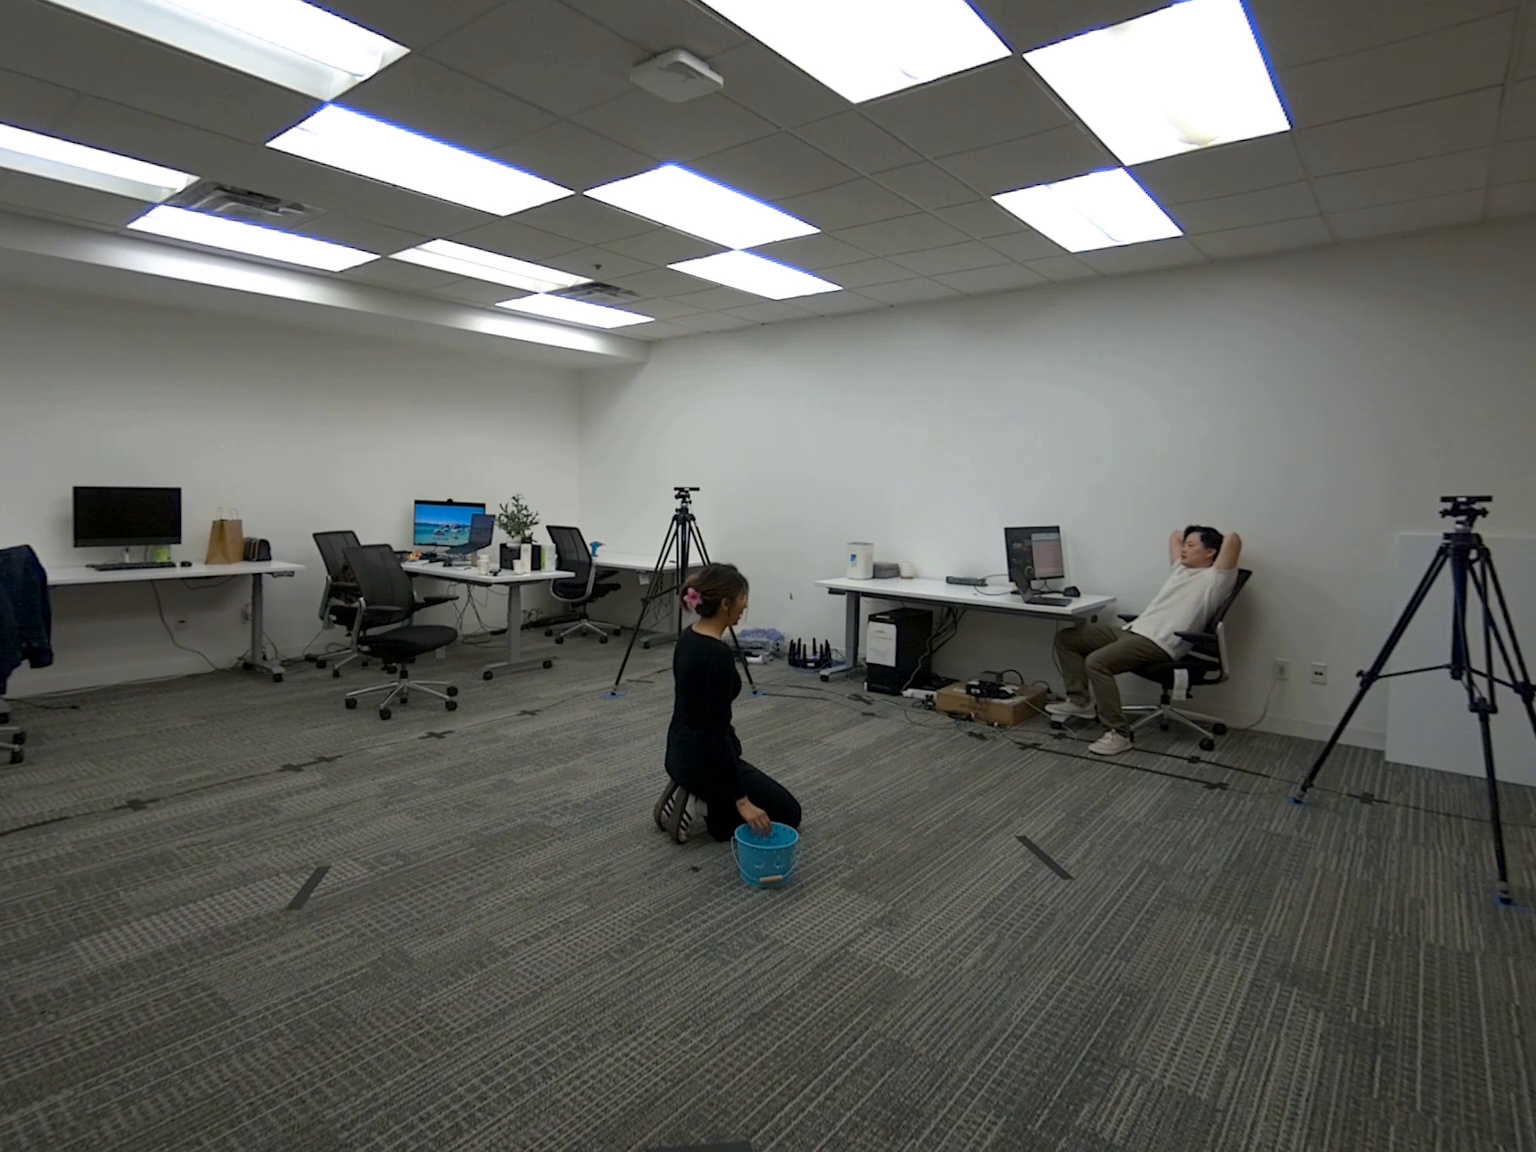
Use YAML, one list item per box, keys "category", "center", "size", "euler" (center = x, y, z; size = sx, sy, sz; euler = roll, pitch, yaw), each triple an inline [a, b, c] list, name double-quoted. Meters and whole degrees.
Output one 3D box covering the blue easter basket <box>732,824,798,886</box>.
- category: "blue easter basket"
  center: [-0.023, 1.000, 3.055]
  size: [0.243, 0.155, 0.245]
  euler: [1, 5, -2]
